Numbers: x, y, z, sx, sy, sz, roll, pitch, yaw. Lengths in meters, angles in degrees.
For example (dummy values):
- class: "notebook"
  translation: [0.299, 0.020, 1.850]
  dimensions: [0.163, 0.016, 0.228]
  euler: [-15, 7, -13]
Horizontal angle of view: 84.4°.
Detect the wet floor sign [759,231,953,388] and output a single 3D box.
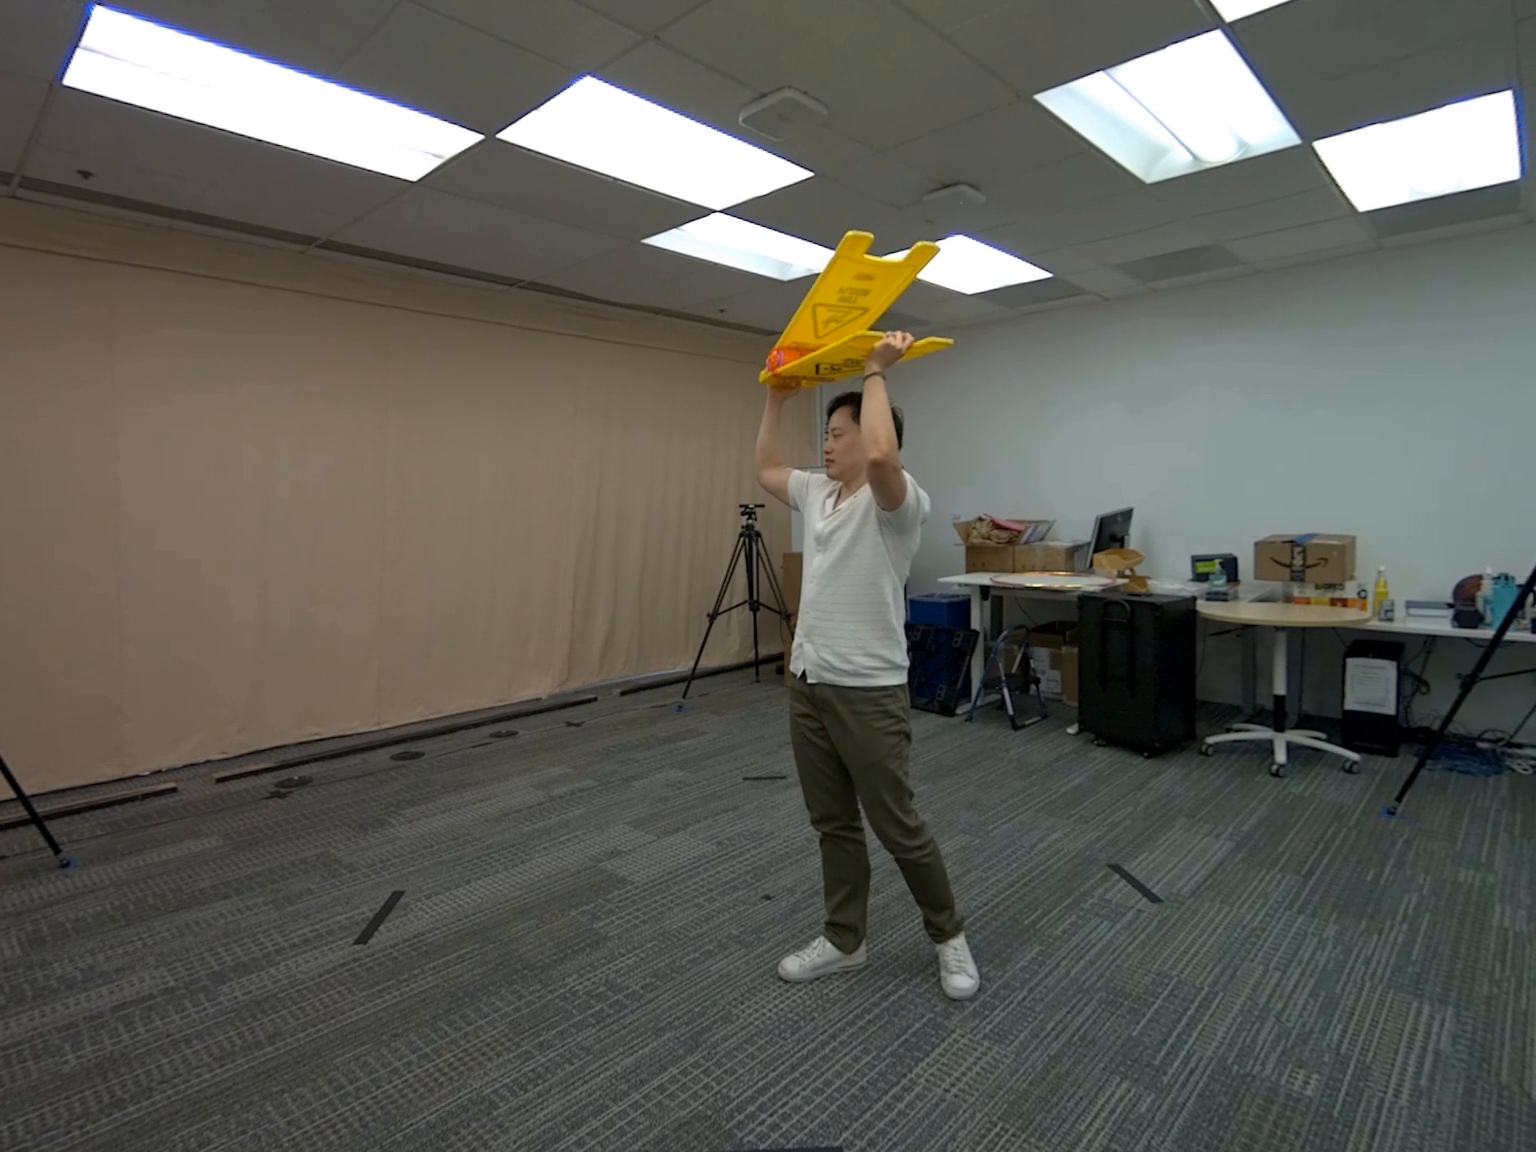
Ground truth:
- class: "wet floor sign"
  translation: [0.199, -0.657, 2.354]
  dimensions: [0.276, 0.292, 0.656]
  euler: [-1, -9, -23]
